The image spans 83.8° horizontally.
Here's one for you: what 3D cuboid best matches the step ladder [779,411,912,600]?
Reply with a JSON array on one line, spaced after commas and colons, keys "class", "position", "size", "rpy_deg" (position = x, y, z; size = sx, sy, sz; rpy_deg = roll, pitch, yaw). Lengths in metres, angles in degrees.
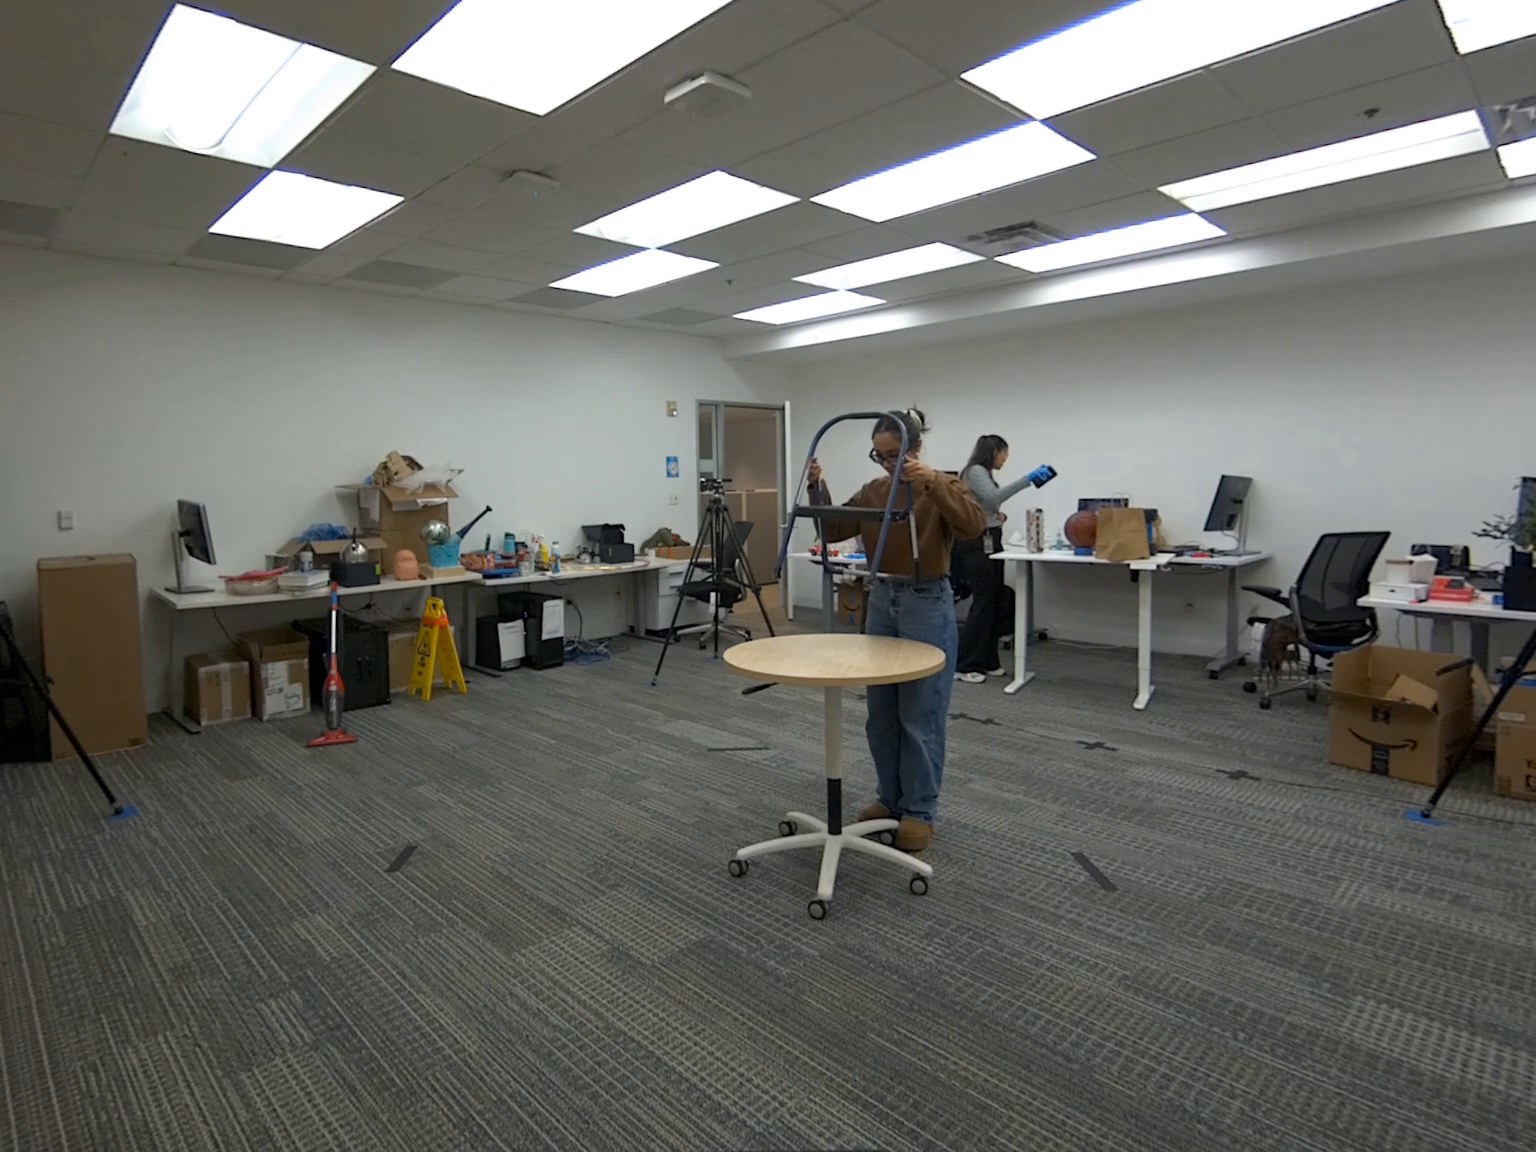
[{"class": "step ladder", "position": [0.297, -0.287, 3.052], "size": [0.444, 0.603, 0.340], "rpy_deg": [6, 7, 40]}]
